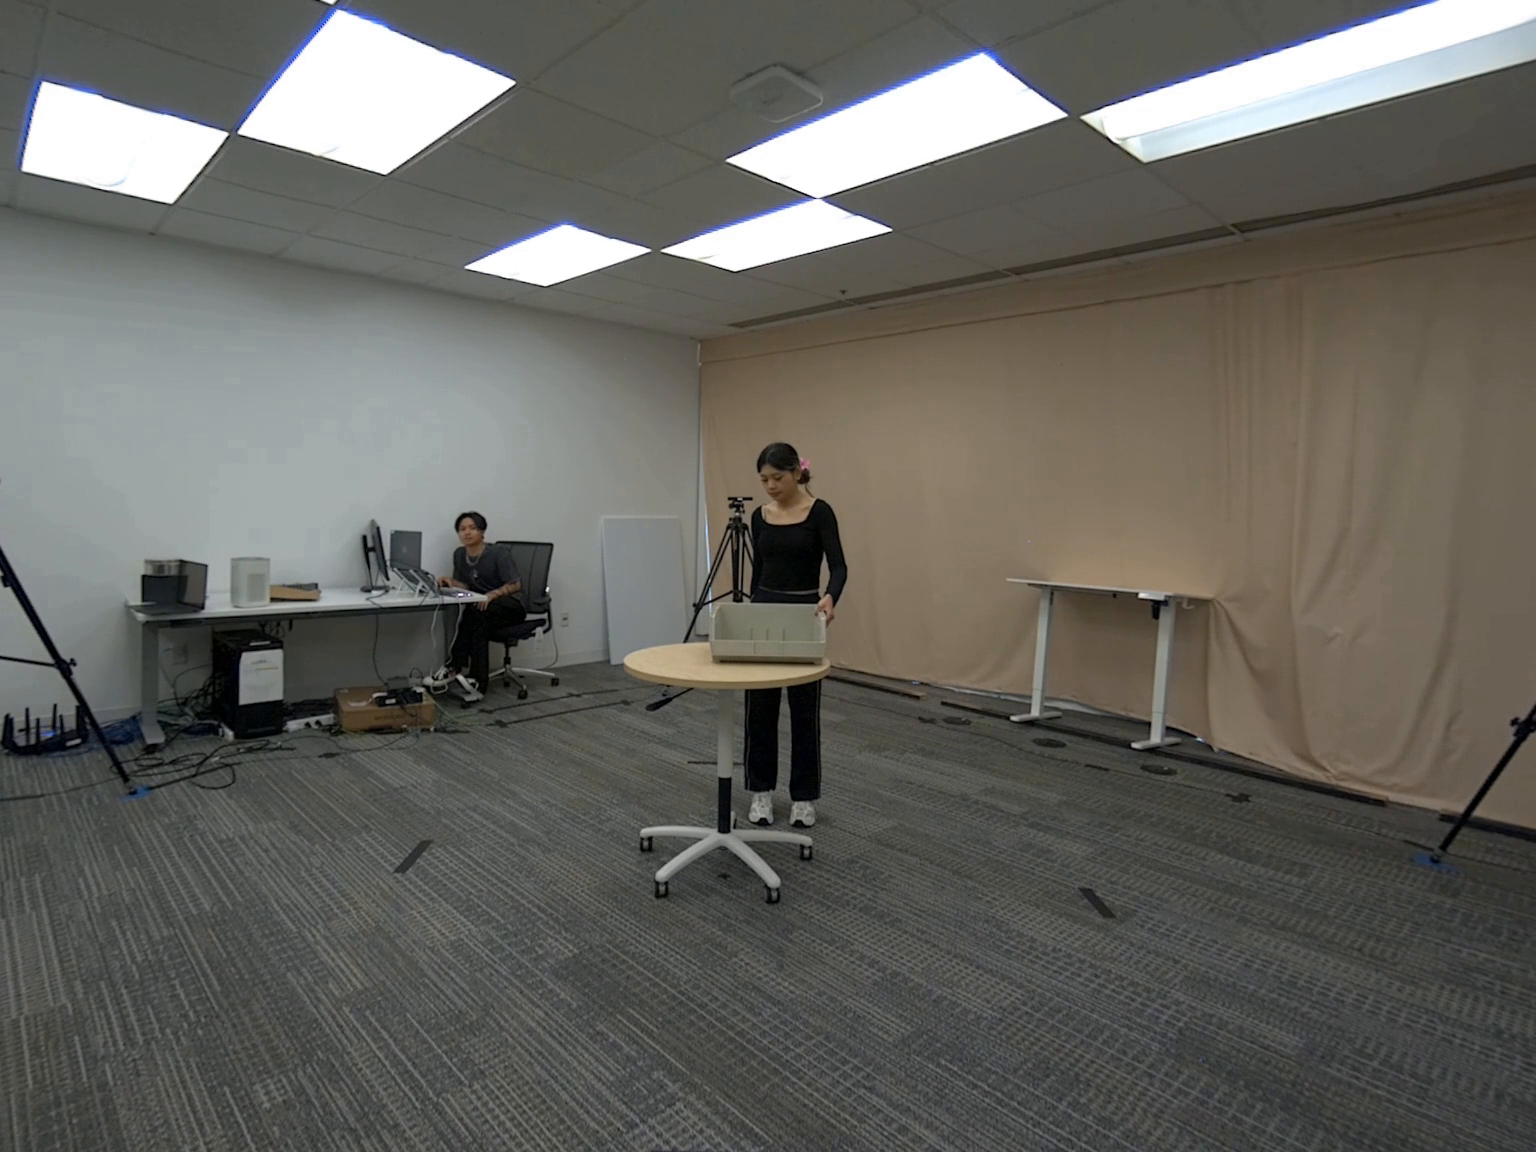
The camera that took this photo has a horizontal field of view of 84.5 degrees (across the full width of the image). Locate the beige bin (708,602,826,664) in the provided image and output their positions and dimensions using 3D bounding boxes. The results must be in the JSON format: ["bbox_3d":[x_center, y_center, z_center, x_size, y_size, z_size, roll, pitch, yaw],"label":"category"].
[{"bbox_3d":[-0.006,0.218,3.187,0.423,0.188,0.378,1,4,0],"label":"beige bin"}]
